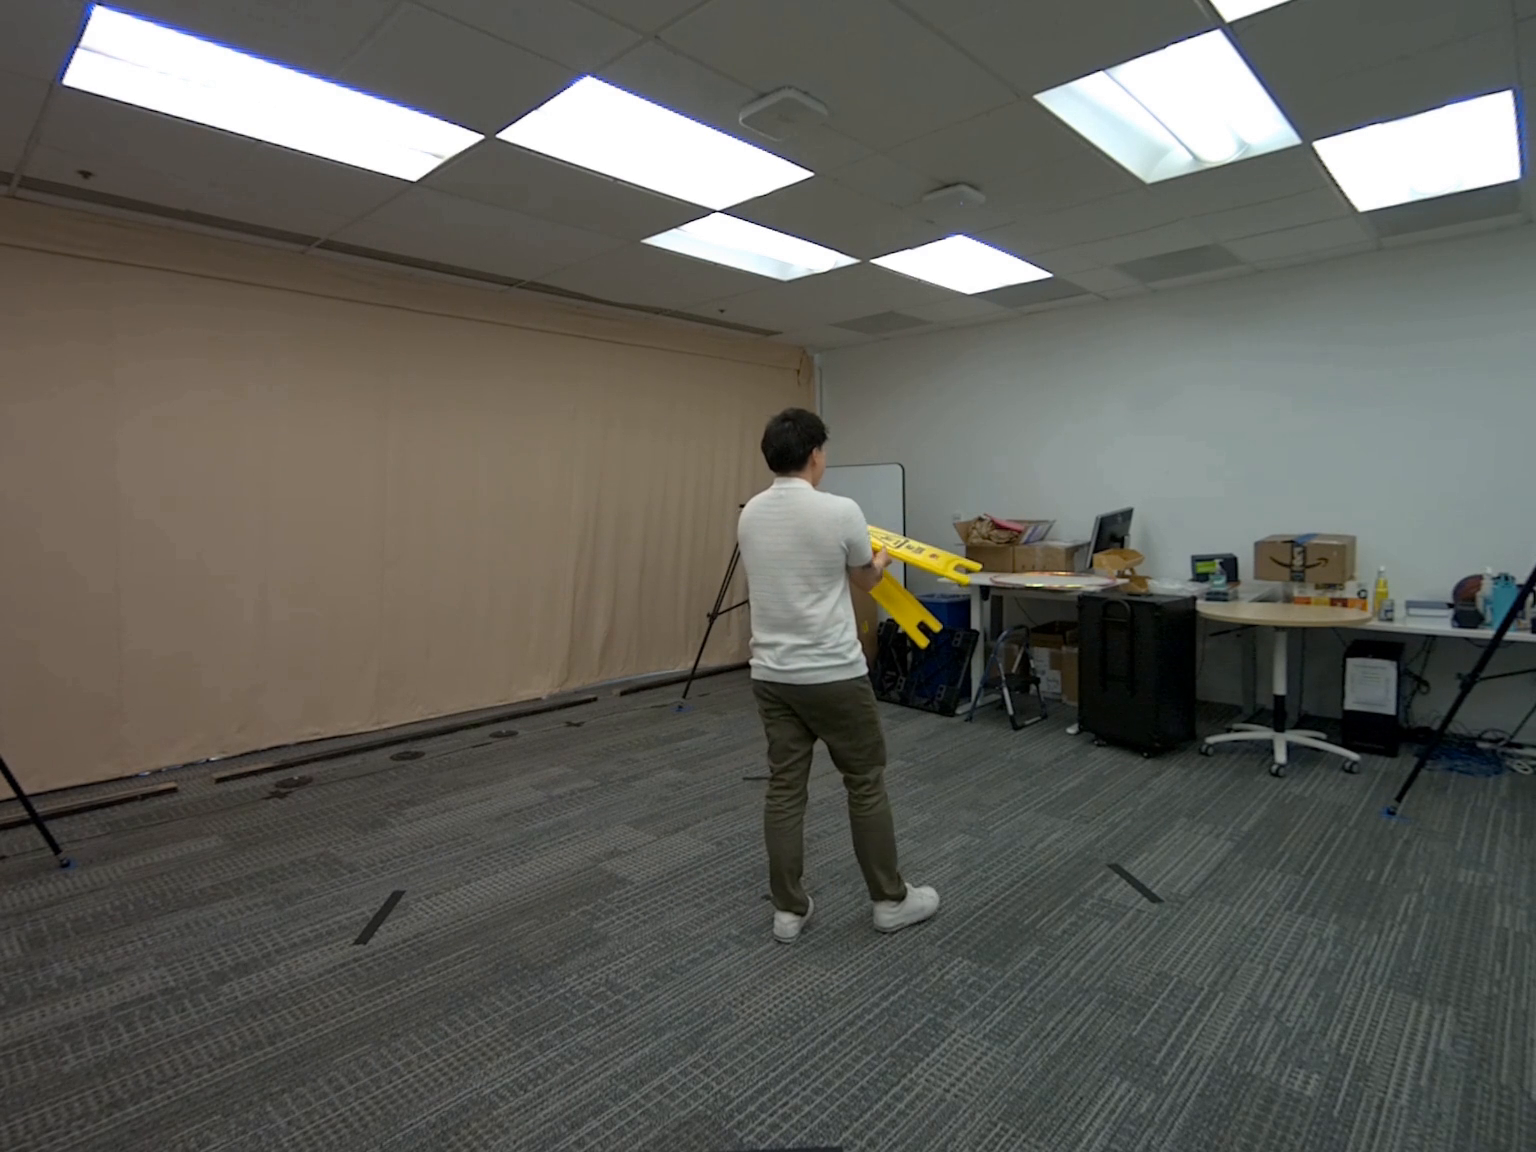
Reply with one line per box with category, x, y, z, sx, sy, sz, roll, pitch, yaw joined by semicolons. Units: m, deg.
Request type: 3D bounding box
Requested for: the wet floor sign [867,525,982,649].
wet floor sign;0.441;-0.061;3.208;0.660;0.289;0.277;36;26;17
